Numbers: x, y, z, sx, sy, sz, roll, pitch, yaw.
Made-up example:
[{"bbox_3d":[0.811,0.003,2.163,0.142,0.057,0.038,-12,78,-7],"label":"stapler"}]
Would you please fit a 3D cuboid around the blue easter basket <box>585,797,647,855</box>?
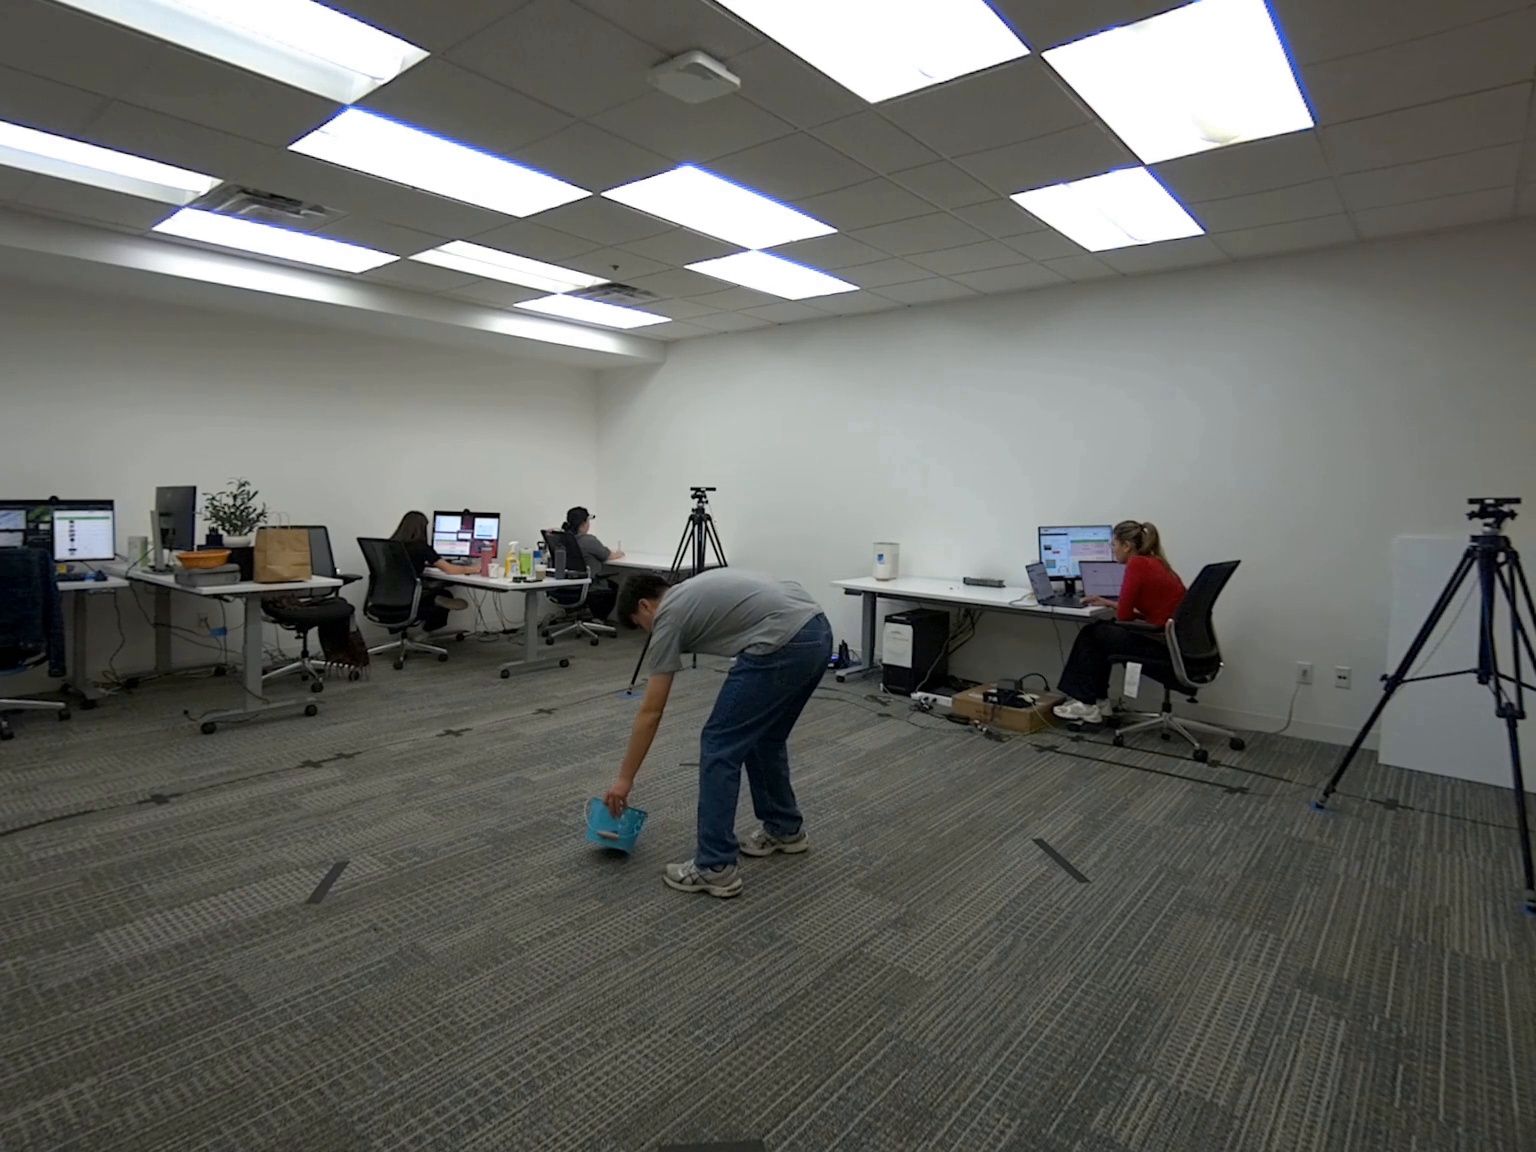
[{"bbox_3d":[-0.596,0.941,3.213,0.245,0.157,0.239,17,-19,4],"label":"blue easter basket"}]
